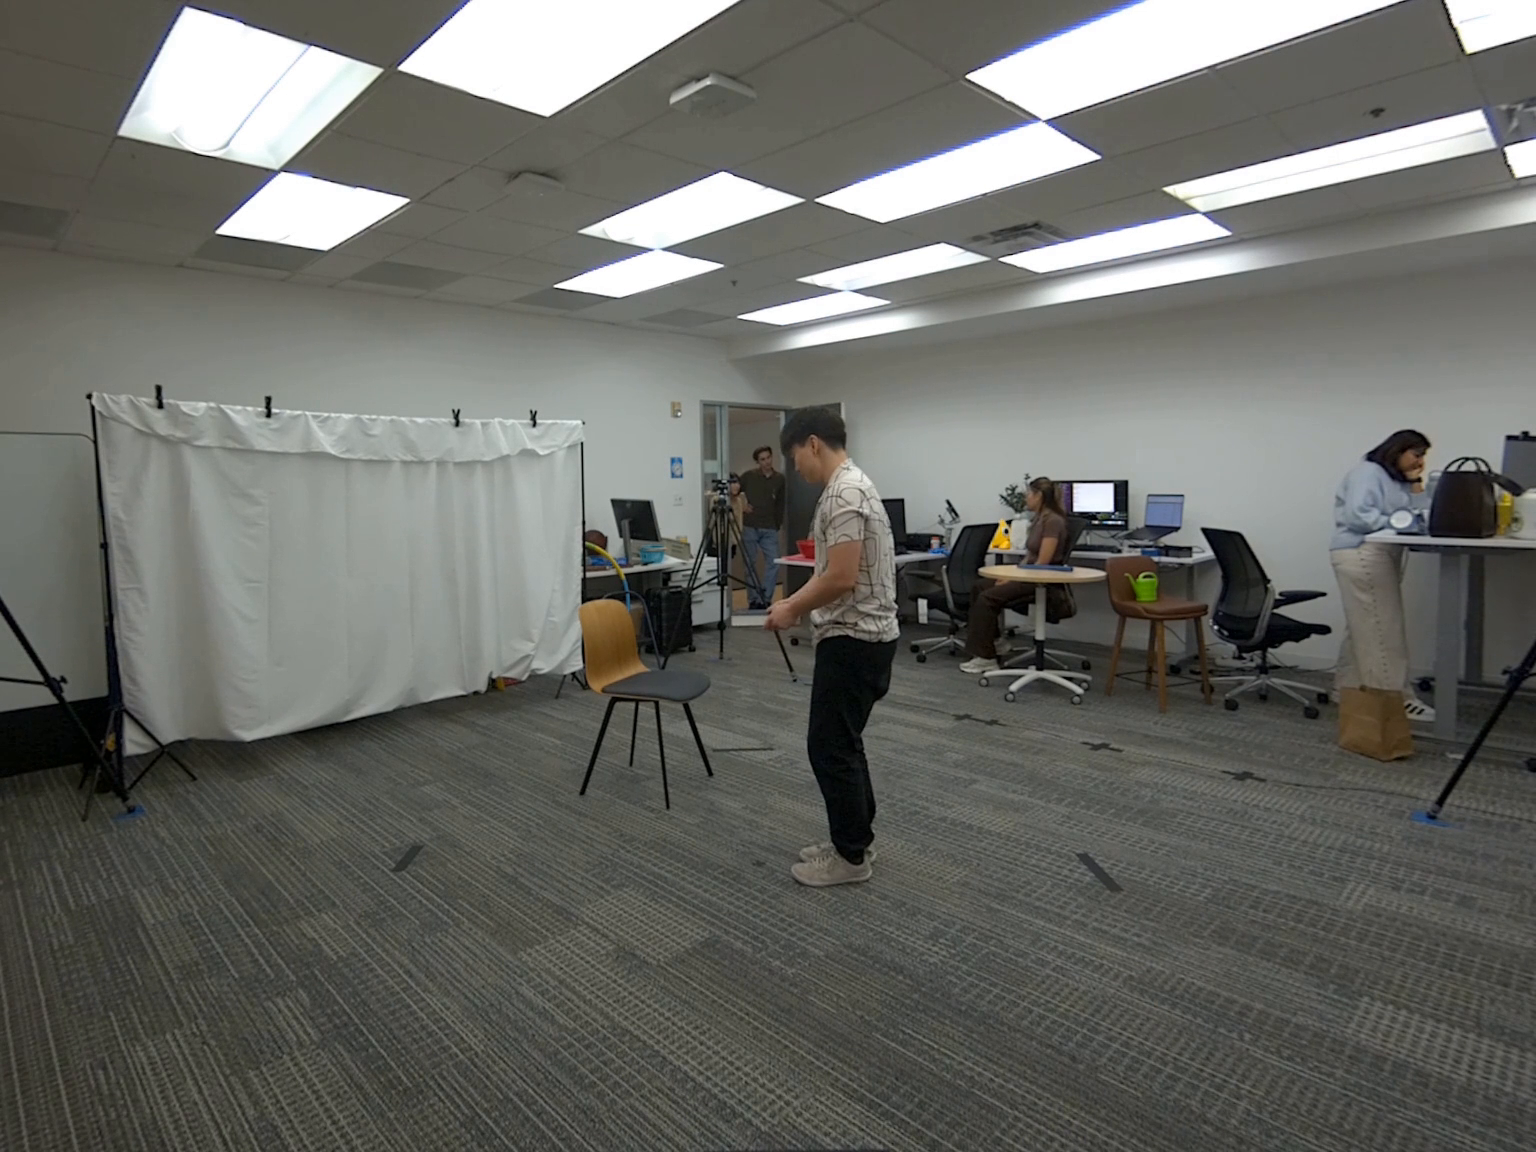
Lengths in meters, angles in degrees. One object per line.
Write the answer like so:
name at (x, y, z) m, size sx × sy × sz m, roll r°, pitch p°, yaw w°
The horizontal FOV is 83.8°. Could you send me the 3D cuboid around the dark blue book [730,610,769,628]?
dark blue book at (0.007, 0.150, 3.039) m, size 0.247 × 0.045 × 0.162 m, roll 2°, pitch 4°, yaw 7°
